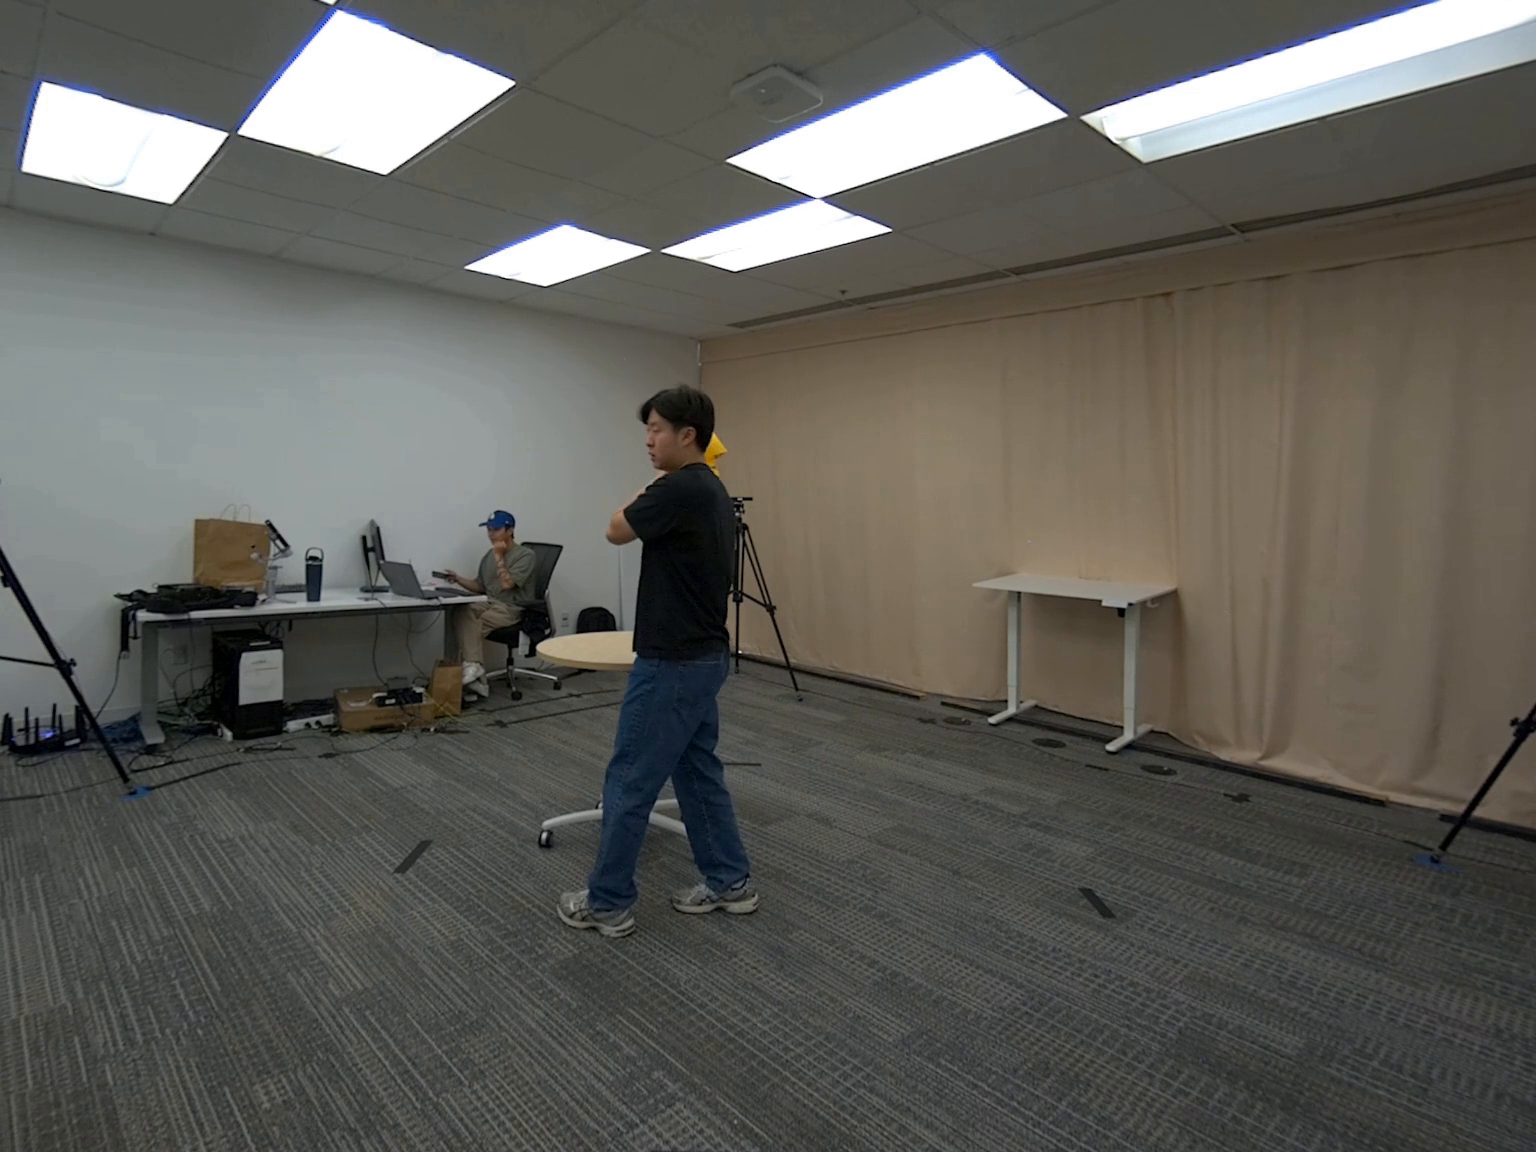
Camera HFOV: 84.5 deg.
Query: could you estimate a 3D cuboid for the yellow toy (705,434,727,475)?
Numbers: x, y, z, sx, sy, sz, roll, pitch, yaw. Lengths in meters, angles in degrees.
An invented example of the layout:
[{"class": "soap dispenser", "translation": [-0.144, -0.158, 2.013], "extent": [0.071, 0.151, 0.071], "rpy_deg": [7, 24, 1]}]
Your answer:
[{"class": "yellow toy", "translation": [-0.274, -0.447, 2.947], "extent": [0.190, 0.231, 0.207], "rpy_deg": [-7, -1, -20]}]
